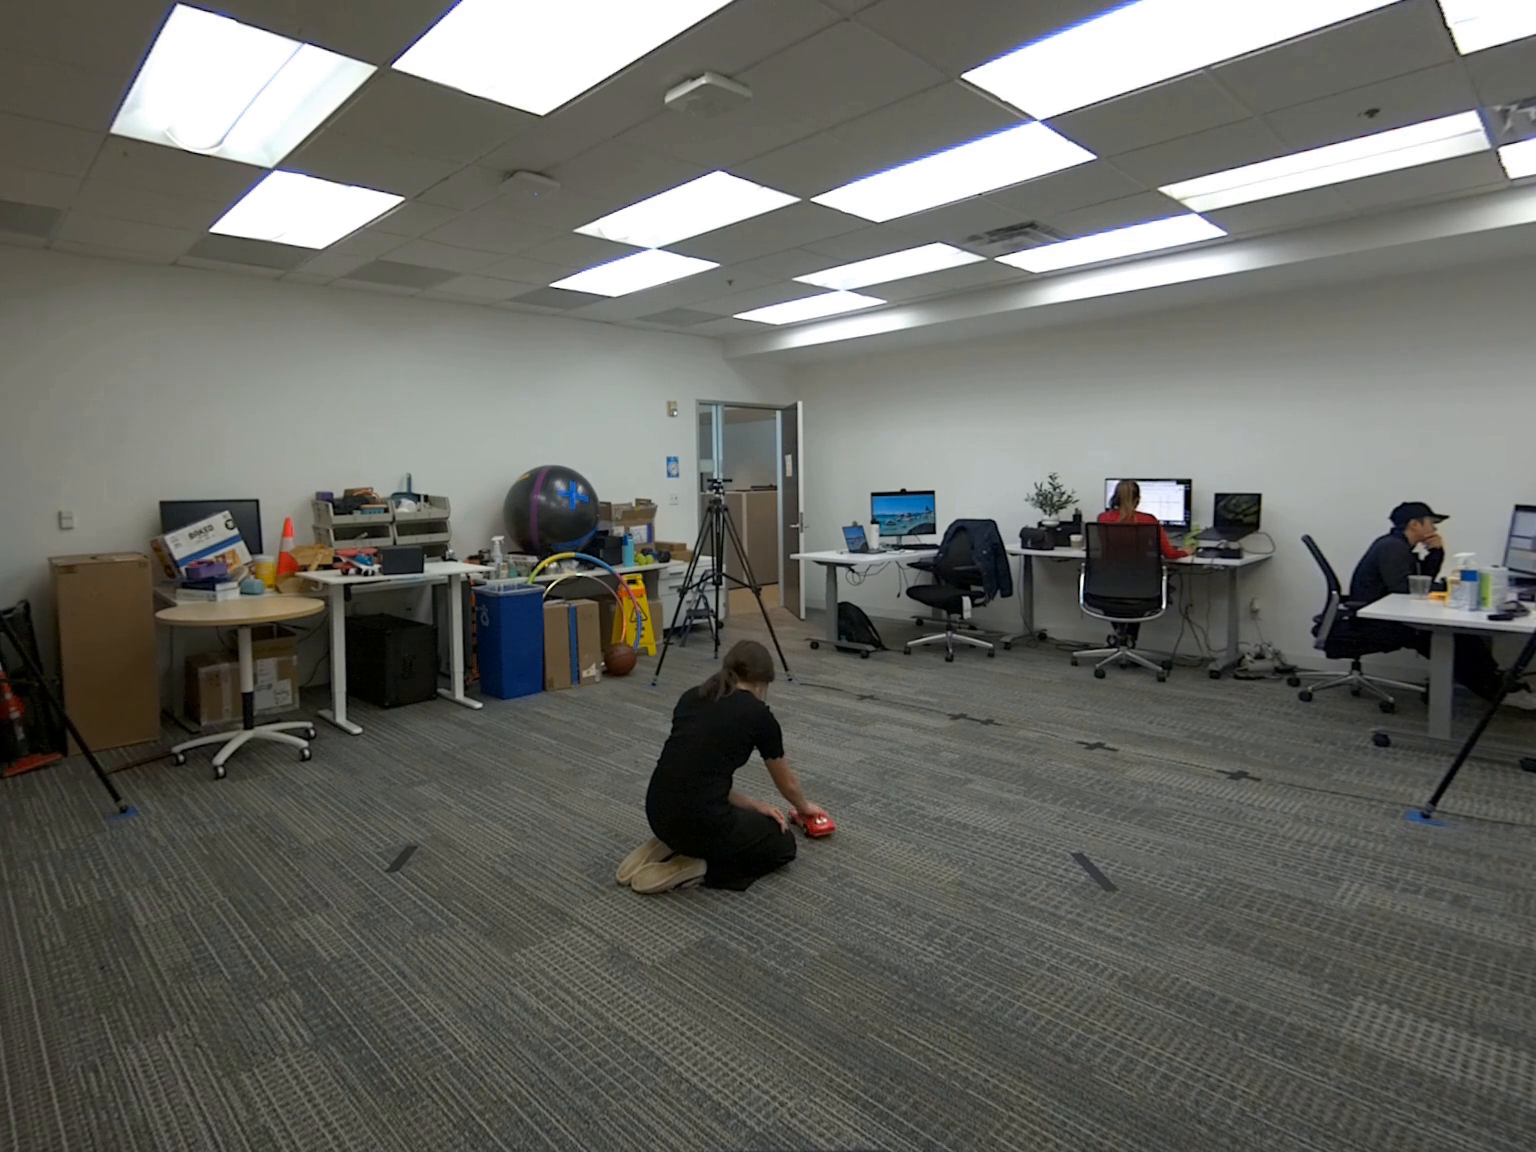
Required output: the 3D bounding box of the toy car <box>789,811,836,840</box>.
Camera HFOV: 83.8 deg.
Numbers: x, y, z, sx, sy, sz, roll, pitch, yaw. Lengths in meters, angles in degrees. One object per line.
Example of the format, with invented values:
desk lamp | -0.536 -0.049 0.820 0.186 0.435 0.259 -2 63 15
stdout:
toy car | 0.177 0.978 3.391 0.128 0.083 0.258 -2 -4 -21
